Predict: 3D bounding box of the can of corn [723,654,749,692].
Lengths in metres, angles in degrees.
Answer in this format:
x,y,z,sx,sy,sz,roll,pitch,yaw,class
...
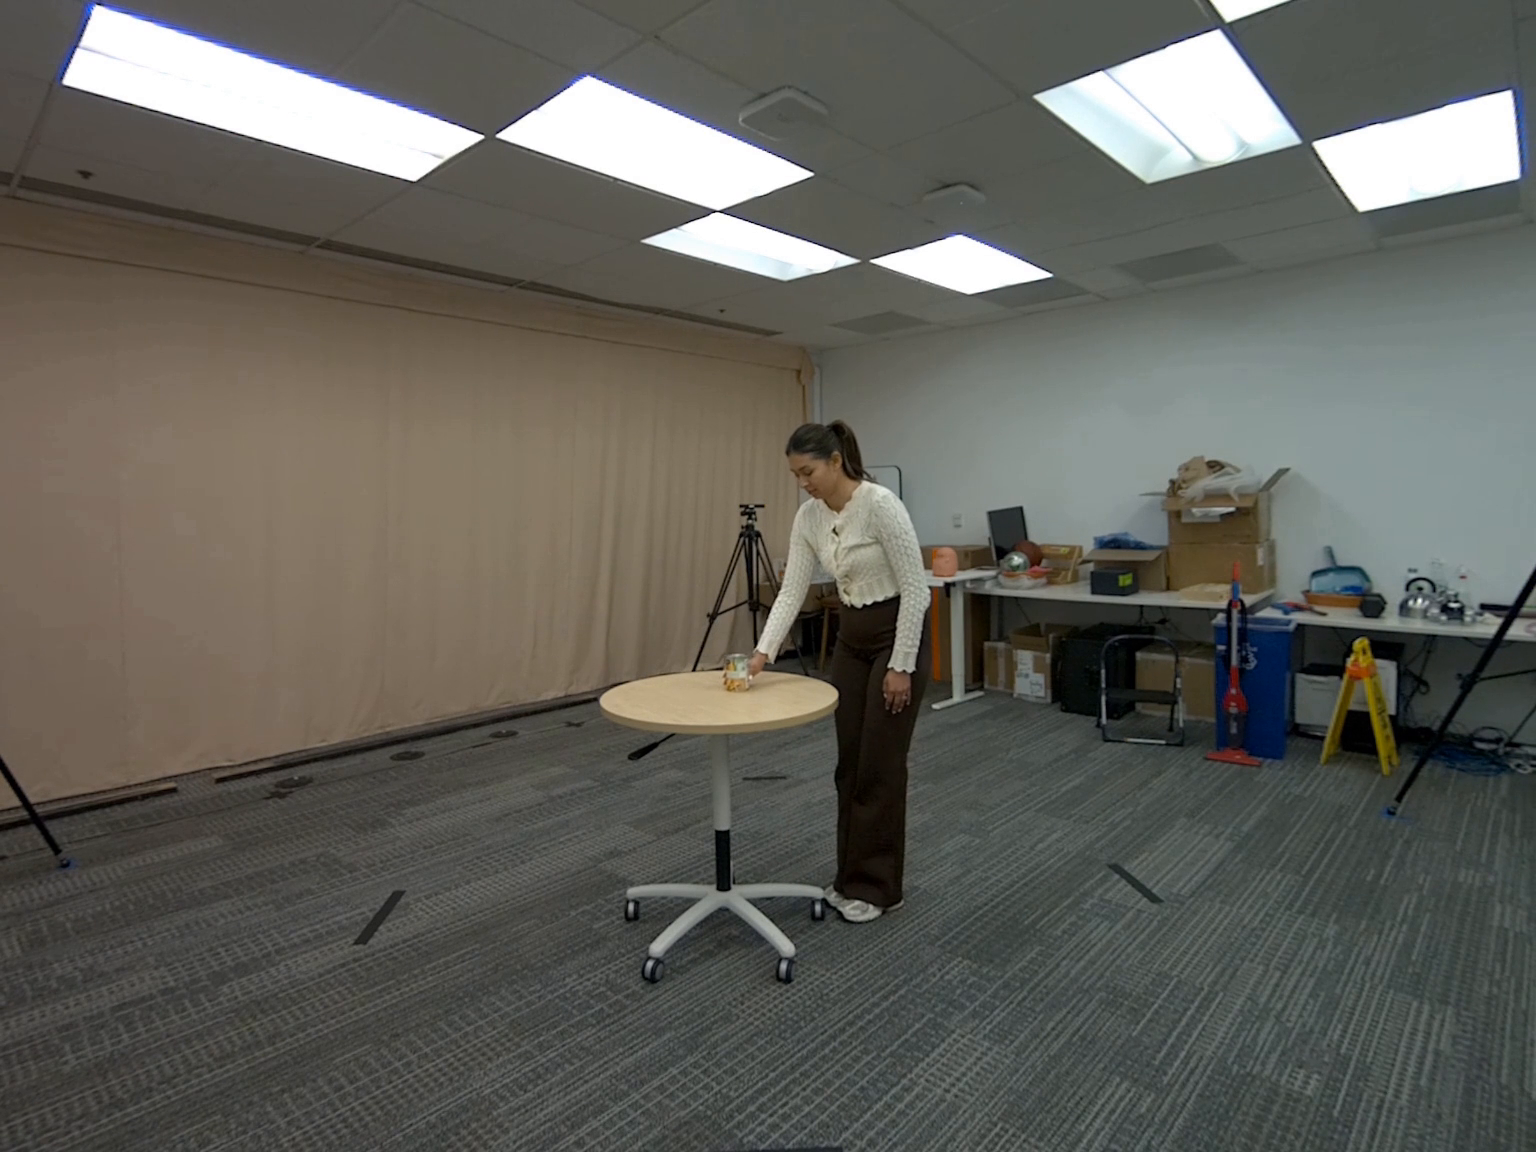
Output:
x,y,z,sx,sy,sz,roll,pitch,yaw,class
-0.101,0.320,2.781,0.074,0.111,0.074,-1,1,-2,can of corn
